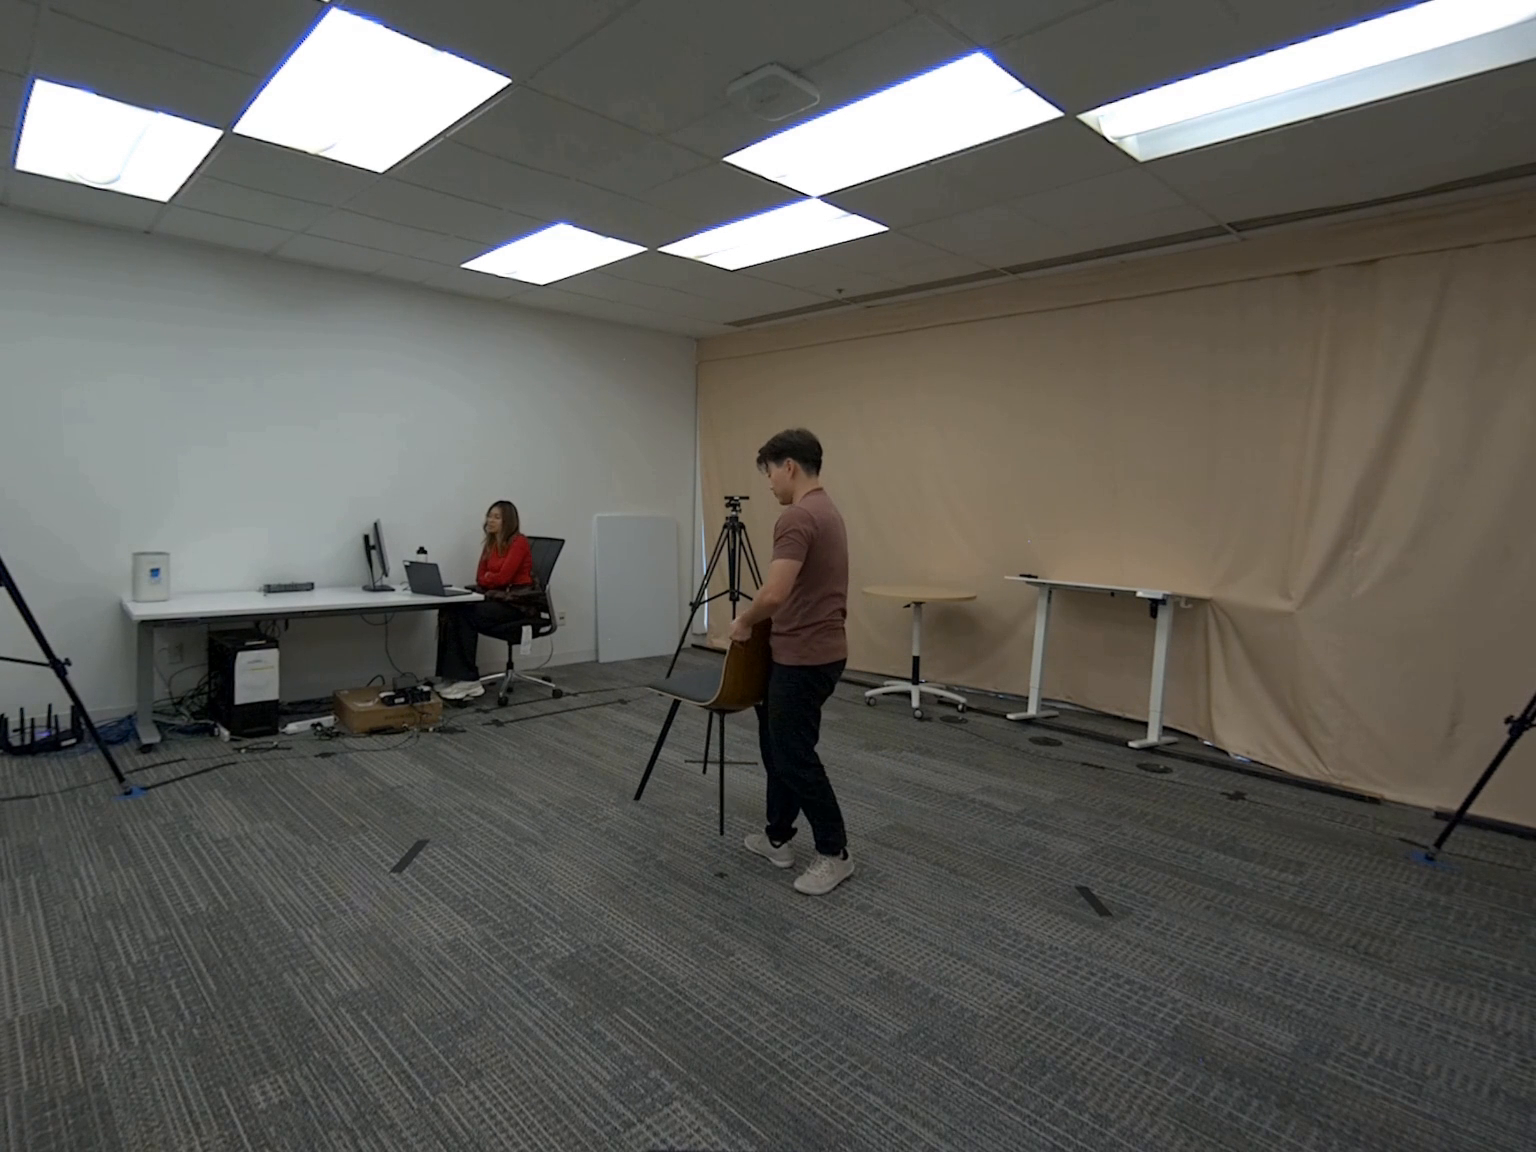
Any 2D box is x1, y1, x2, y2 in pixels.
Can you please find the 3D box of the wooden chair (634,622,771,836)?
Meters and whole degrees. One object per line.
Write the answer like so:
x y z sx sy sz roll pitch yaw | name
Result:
-0.209 0.508 3.399 0.537 0.872 0.468 14 11 35 | wooden chair
